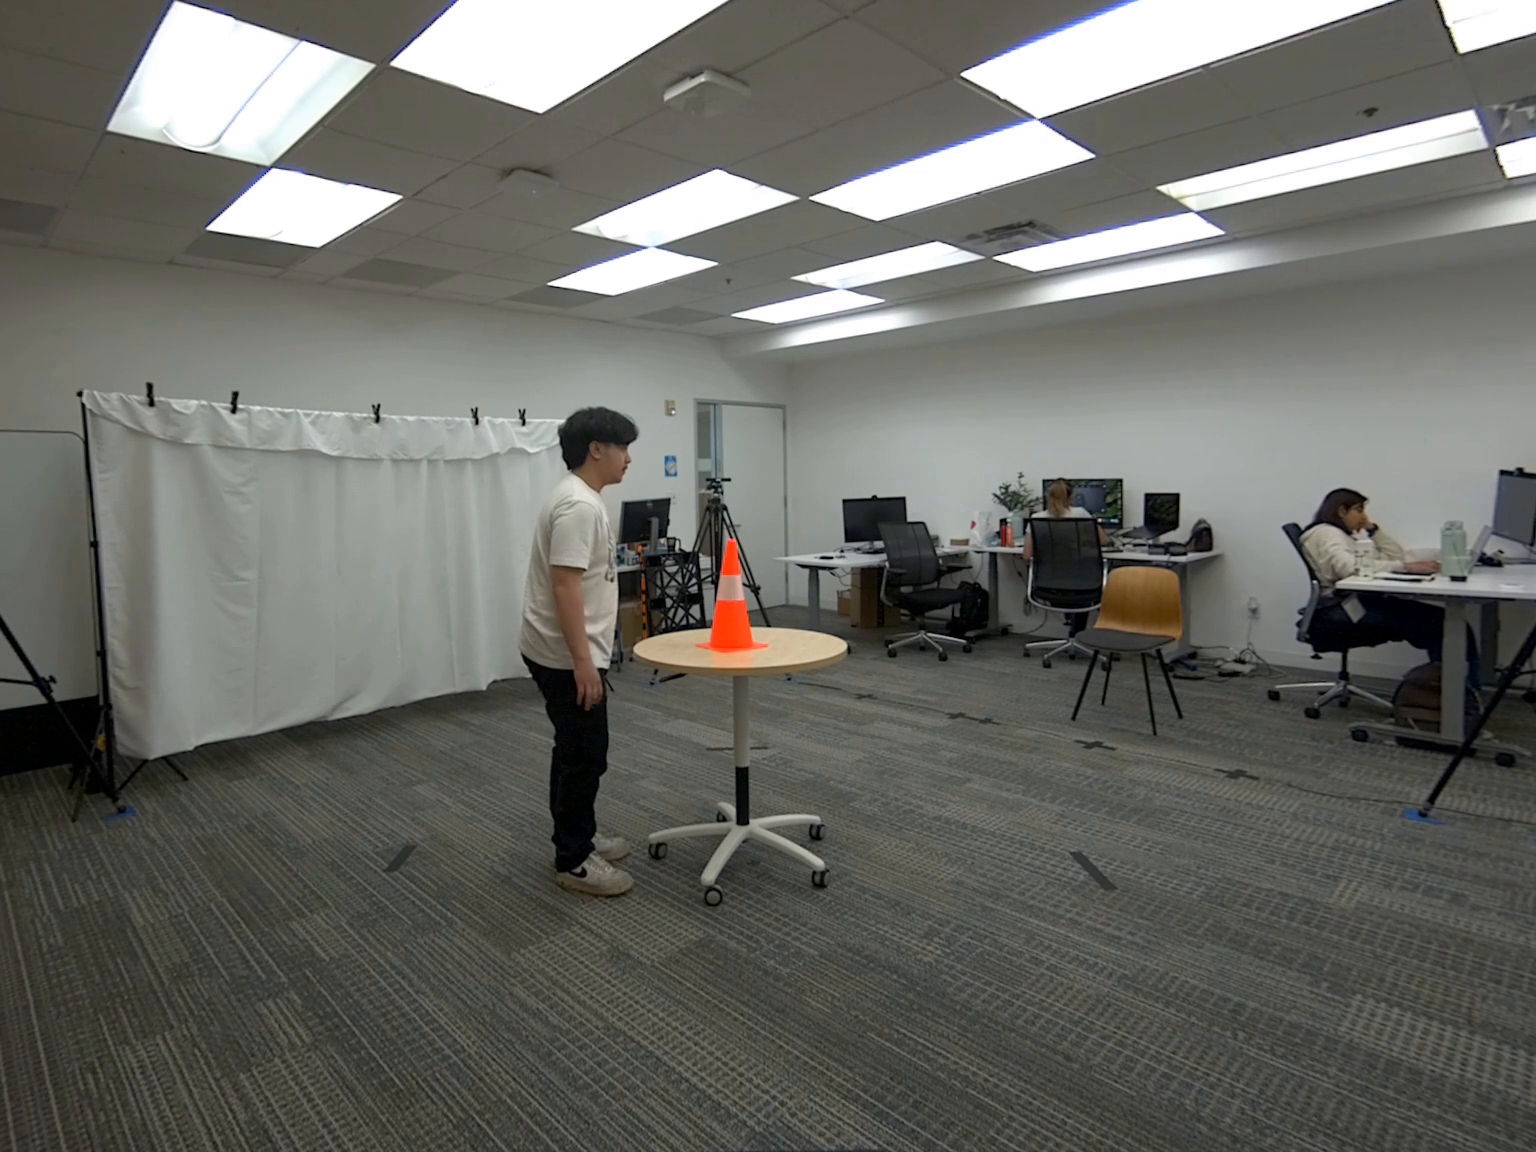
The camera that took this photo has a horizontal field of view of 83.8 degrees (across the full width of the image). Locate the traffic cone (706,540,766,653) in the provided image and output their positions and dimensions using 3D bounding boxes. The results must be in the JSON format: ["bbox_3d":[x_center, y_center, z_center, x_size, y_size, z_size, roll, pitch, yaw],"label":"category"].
[{"bbox_3d":[-0.142,0.064,3.054,0.209,0.383,0.200,0,4,40],"label":"traffic cone"}]
